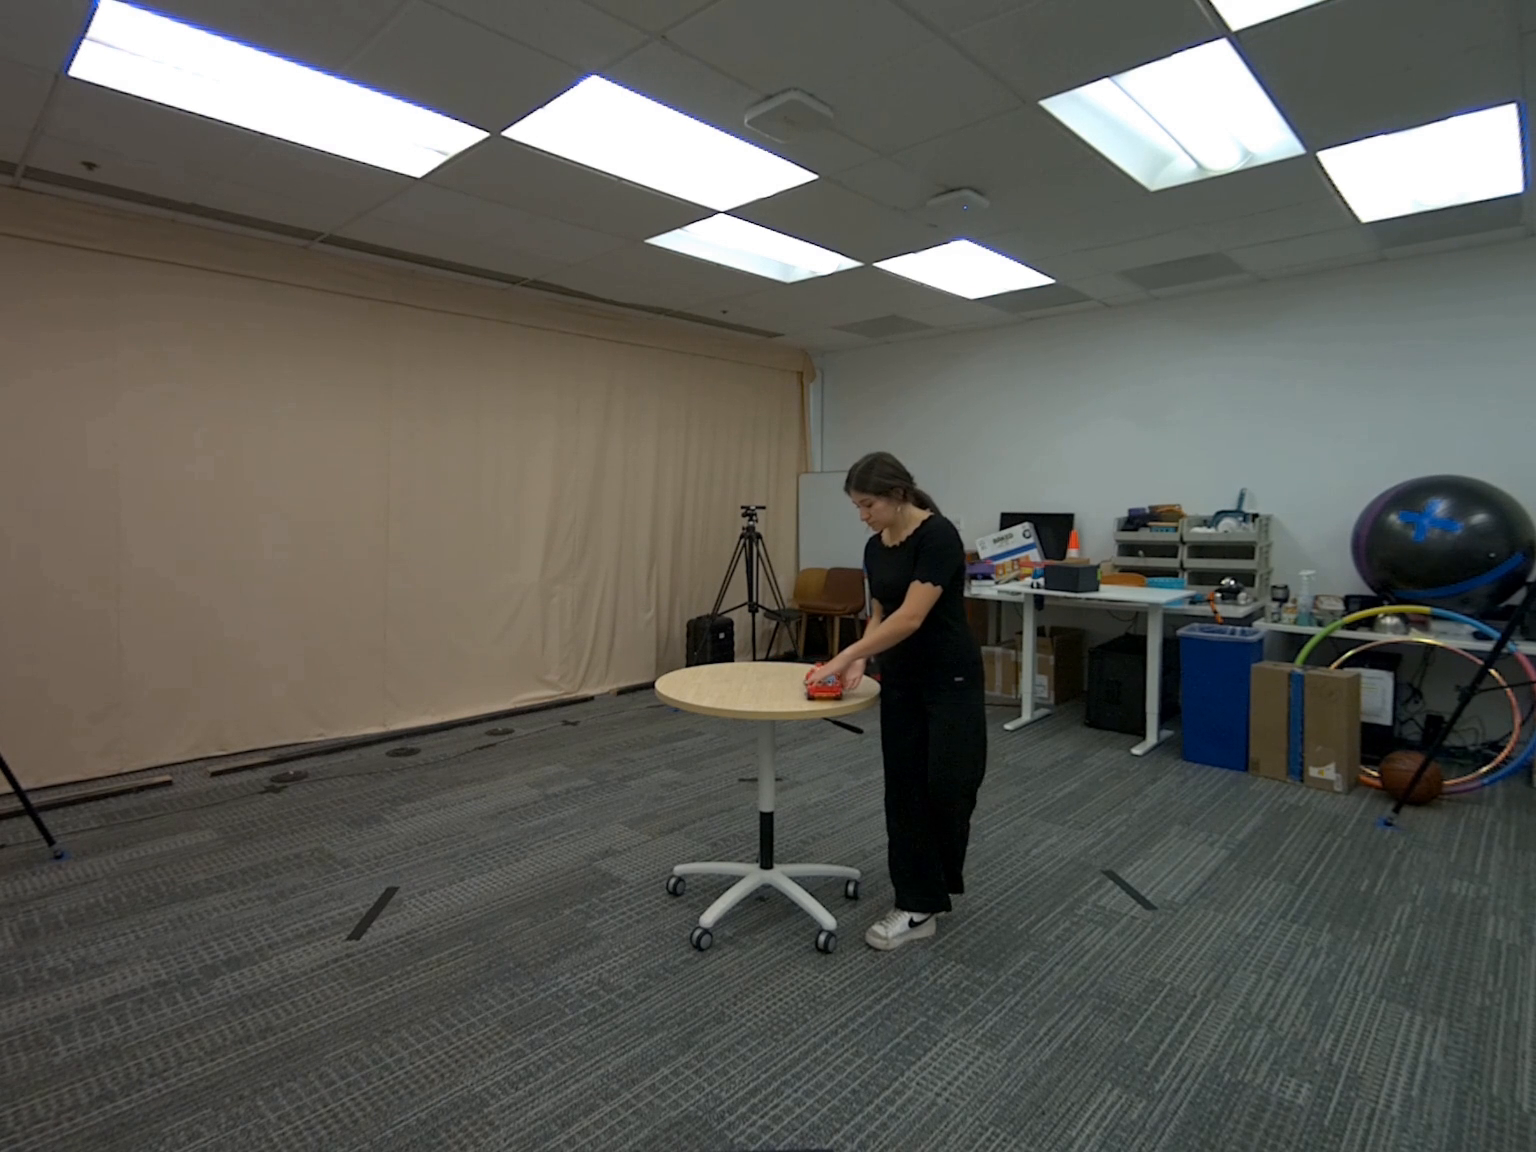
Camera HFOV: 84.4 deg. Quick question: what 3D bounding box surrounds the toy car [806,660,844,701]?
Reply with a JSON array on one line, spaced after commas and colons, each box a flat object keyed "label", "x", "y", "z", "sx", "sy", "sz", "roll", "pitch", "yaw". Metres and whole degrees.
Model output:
[{"label": "toy car", "x": 0.185, "y": 0.352, "z": 2.740, "sx": 0.131, "sy": 0.082, "sz": 0.256, "roll": -1, "pitch": 17, "yaw": 1}]
